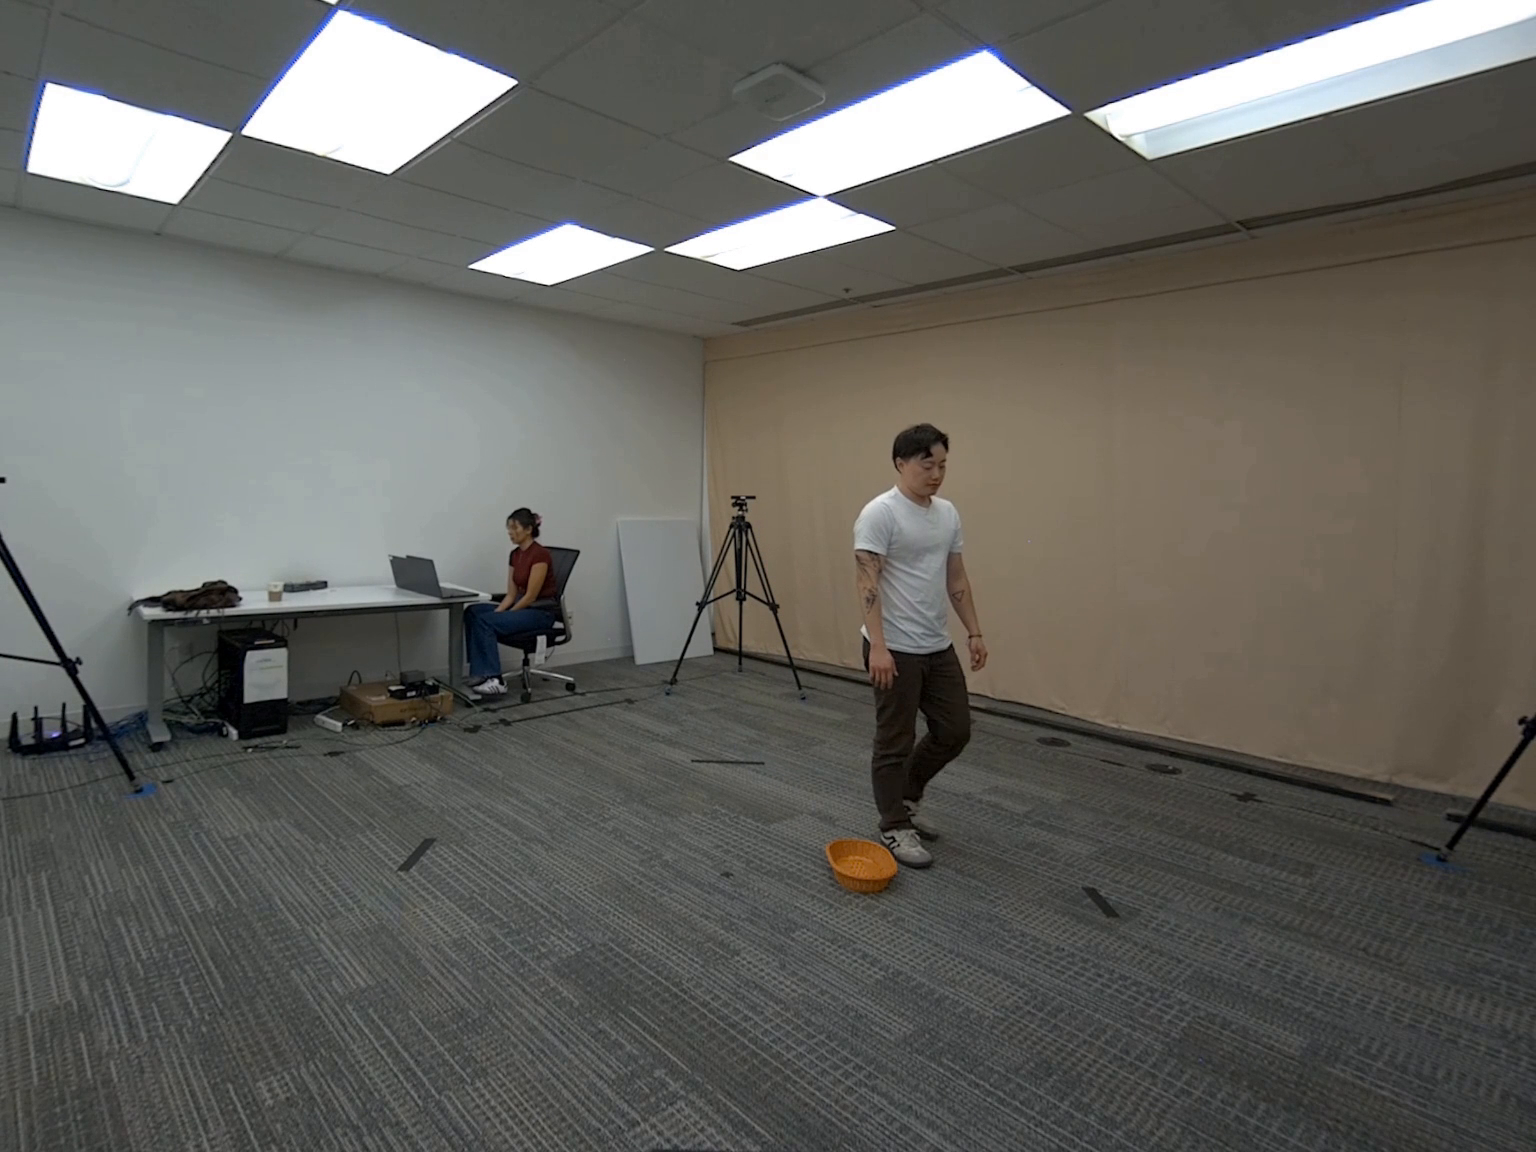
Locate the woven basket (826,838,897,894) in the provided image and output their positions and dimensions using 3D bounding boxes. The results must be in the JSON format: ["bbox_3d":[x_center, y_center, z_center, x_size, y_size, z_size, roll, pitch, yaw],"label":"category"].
[{"bbox_3d":[0.335,1.073,3.115,0.252,0.073,0.352,2,5,-3],"label":"woven basket"}]
